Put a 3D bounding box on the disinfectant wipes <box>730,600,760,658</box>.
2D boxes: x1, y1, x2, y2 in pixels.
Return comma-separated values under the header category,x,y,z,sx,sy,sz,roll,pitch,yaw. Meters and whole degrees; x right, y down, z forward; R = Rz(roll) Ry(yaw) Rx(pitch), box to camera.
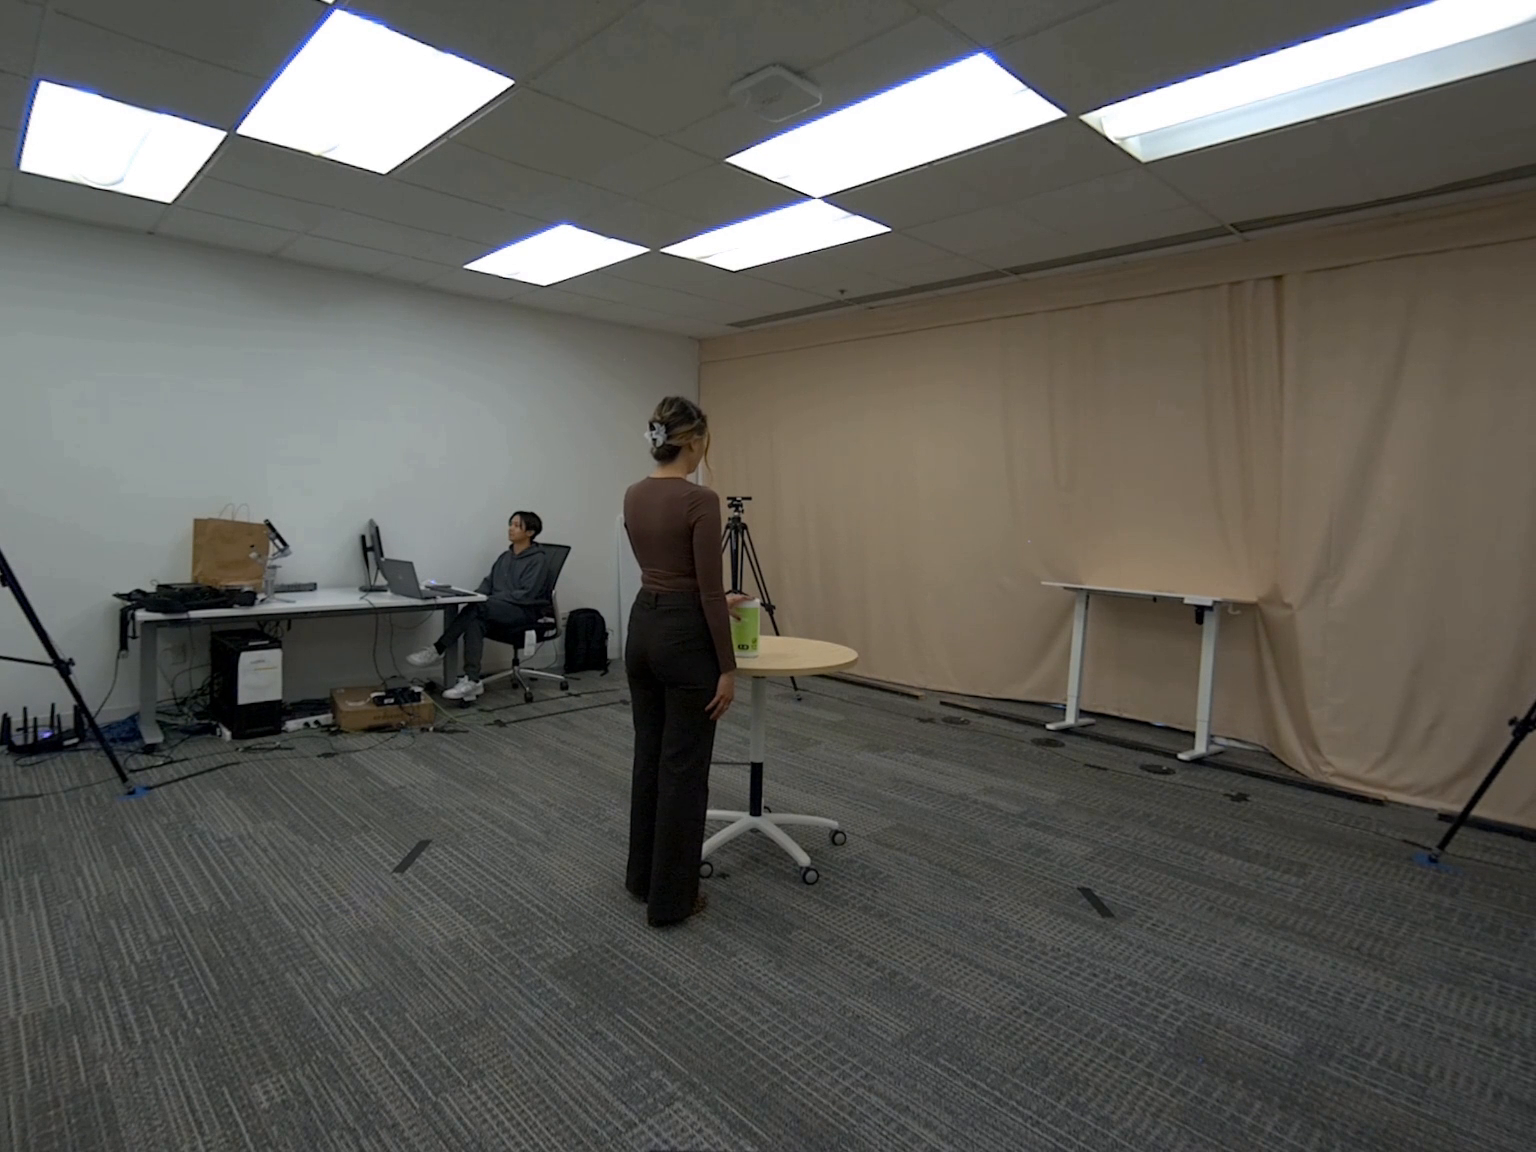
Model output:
category,x,y,z,sx,sy,sz,roll,pitch,yaw
disinfectant wipes,-0.095,0.196,3.185,0.118,0.217,0.118,0,4,-1
